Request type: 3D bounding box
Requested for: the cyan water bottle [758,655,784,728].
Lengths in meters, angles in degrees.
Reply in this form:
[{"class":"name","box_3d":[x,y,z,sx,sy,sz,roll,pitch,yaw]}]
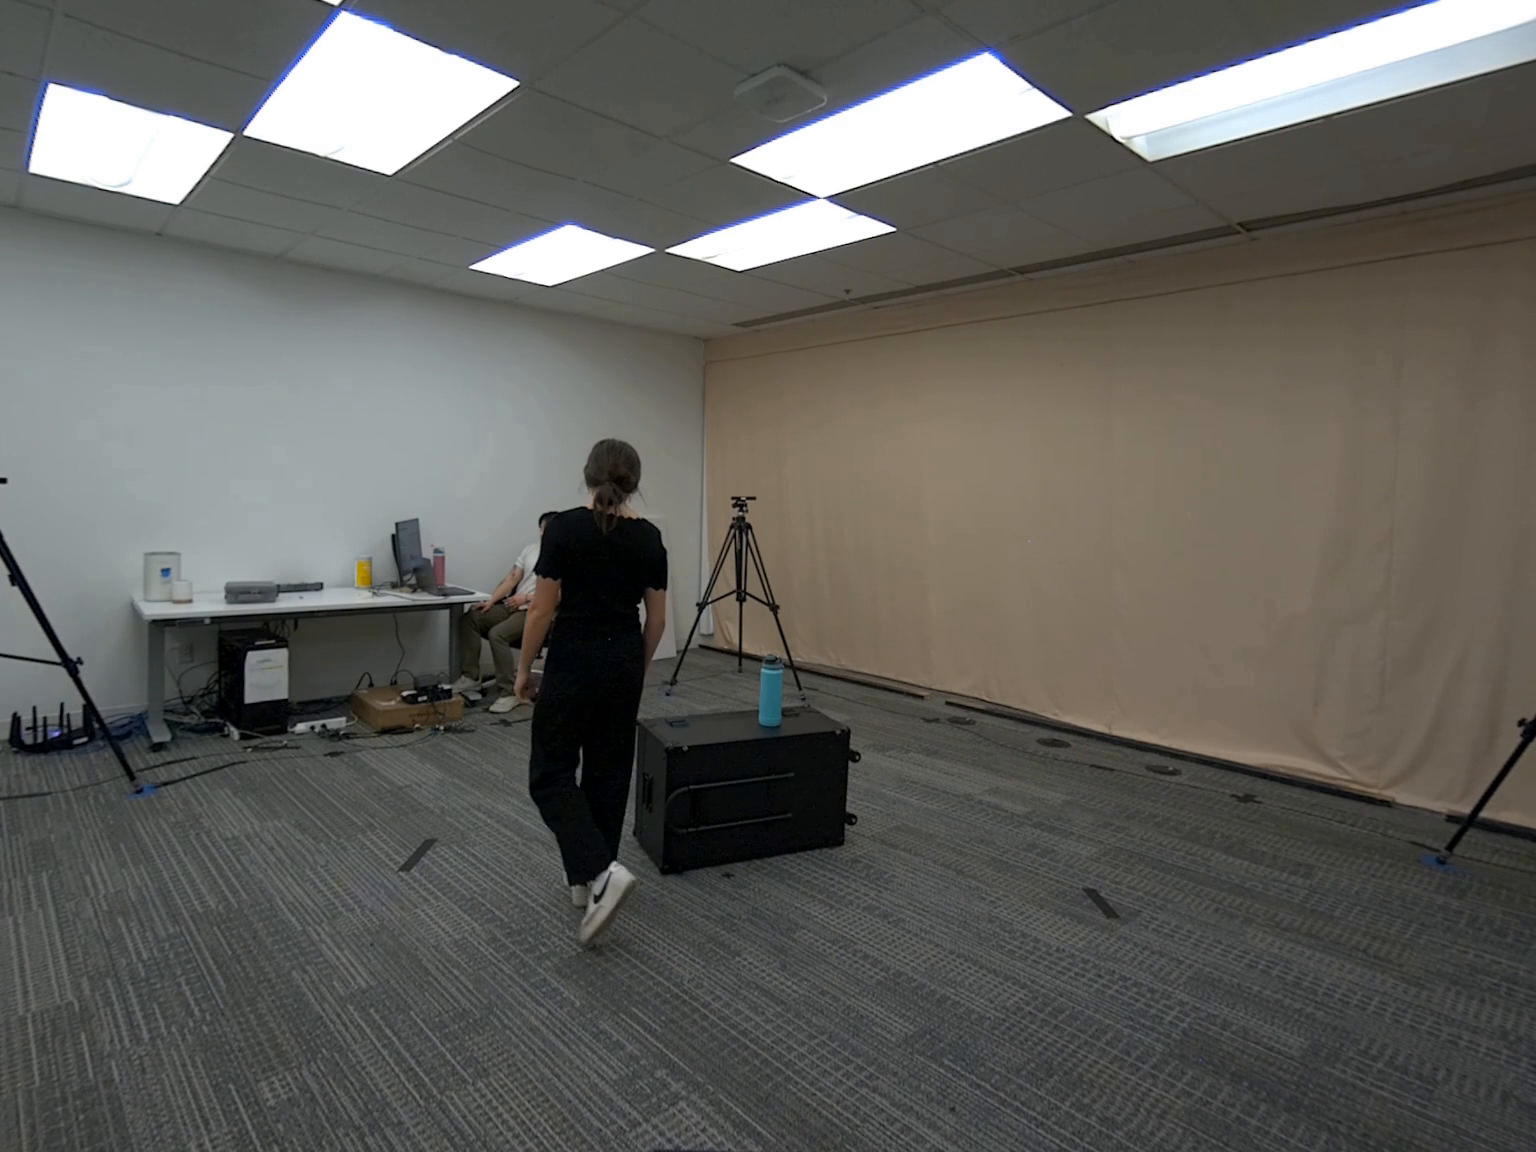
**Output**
[{"class":"cyan water bottle","box_3d":[0.005,0.457,3.392,0.092,0.282,0.093,2,4,-2]}]
